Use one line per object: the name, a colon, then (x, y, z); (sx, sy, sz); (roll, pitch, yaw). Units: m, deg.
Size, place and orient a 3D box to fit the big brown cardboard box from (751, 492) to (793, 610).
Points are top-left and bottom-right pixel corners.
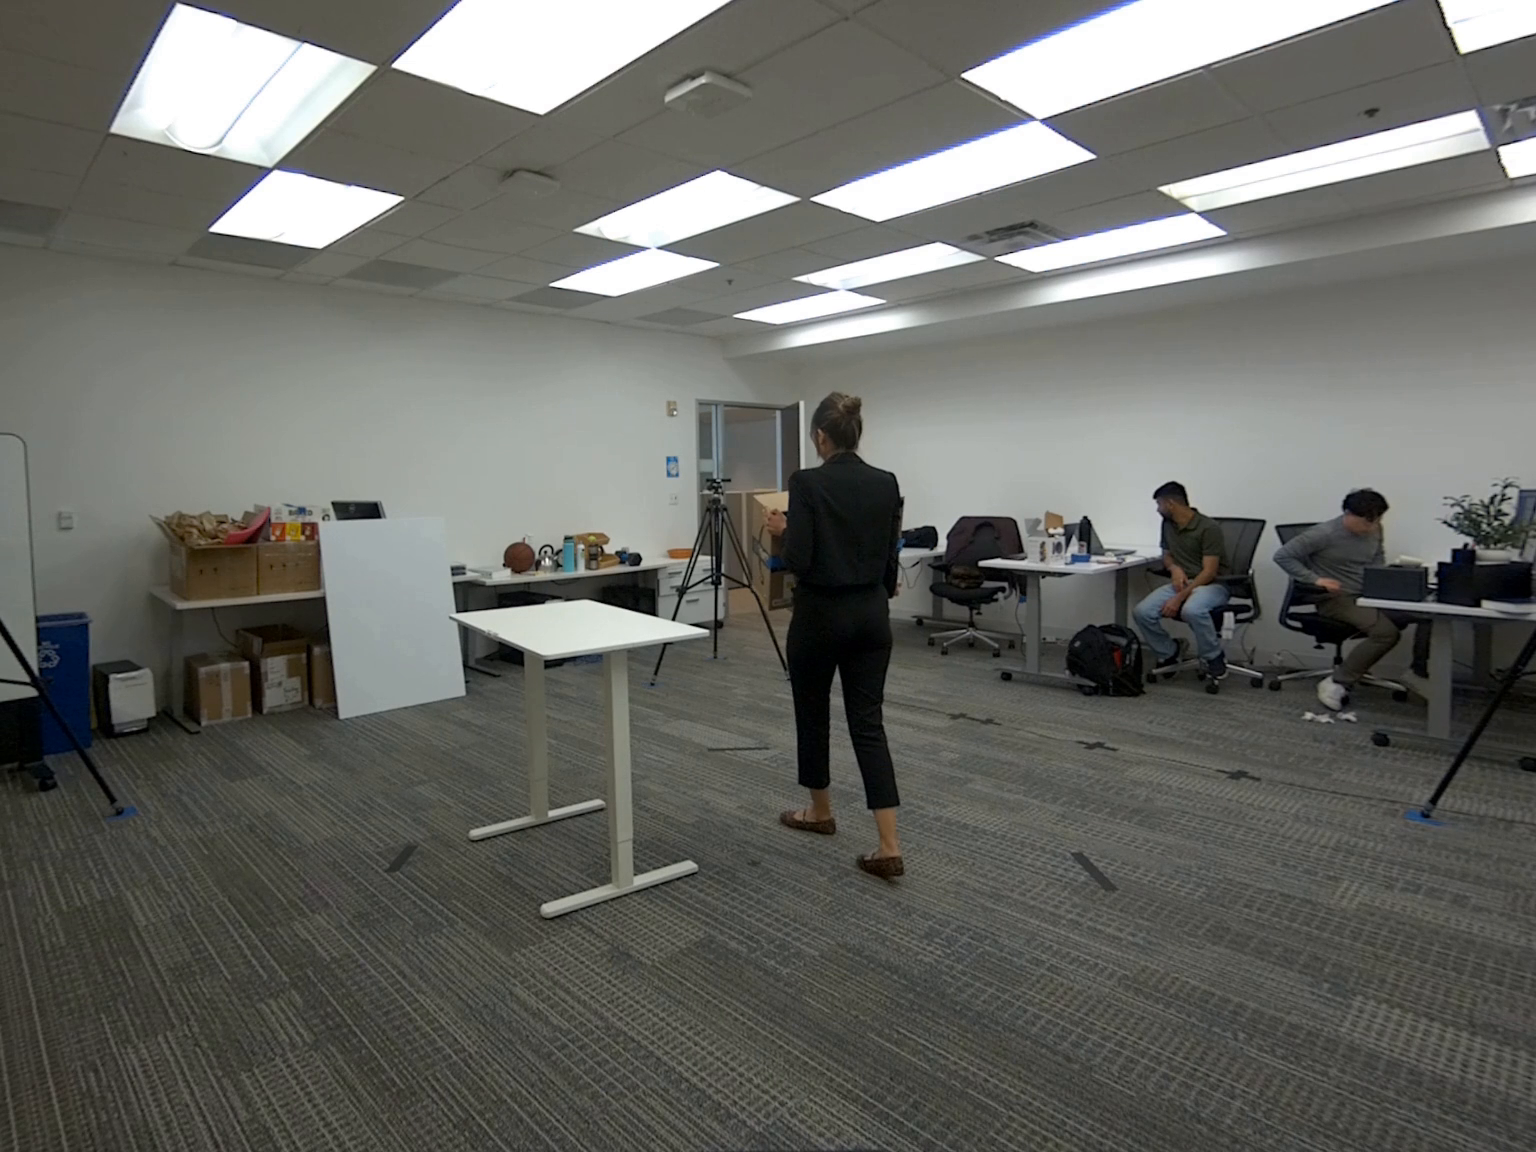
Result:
big brown cardboard box: (0.233, -0.135, 3.470); (0.581, 0.409, 0.241); (-9, 25, -17)
